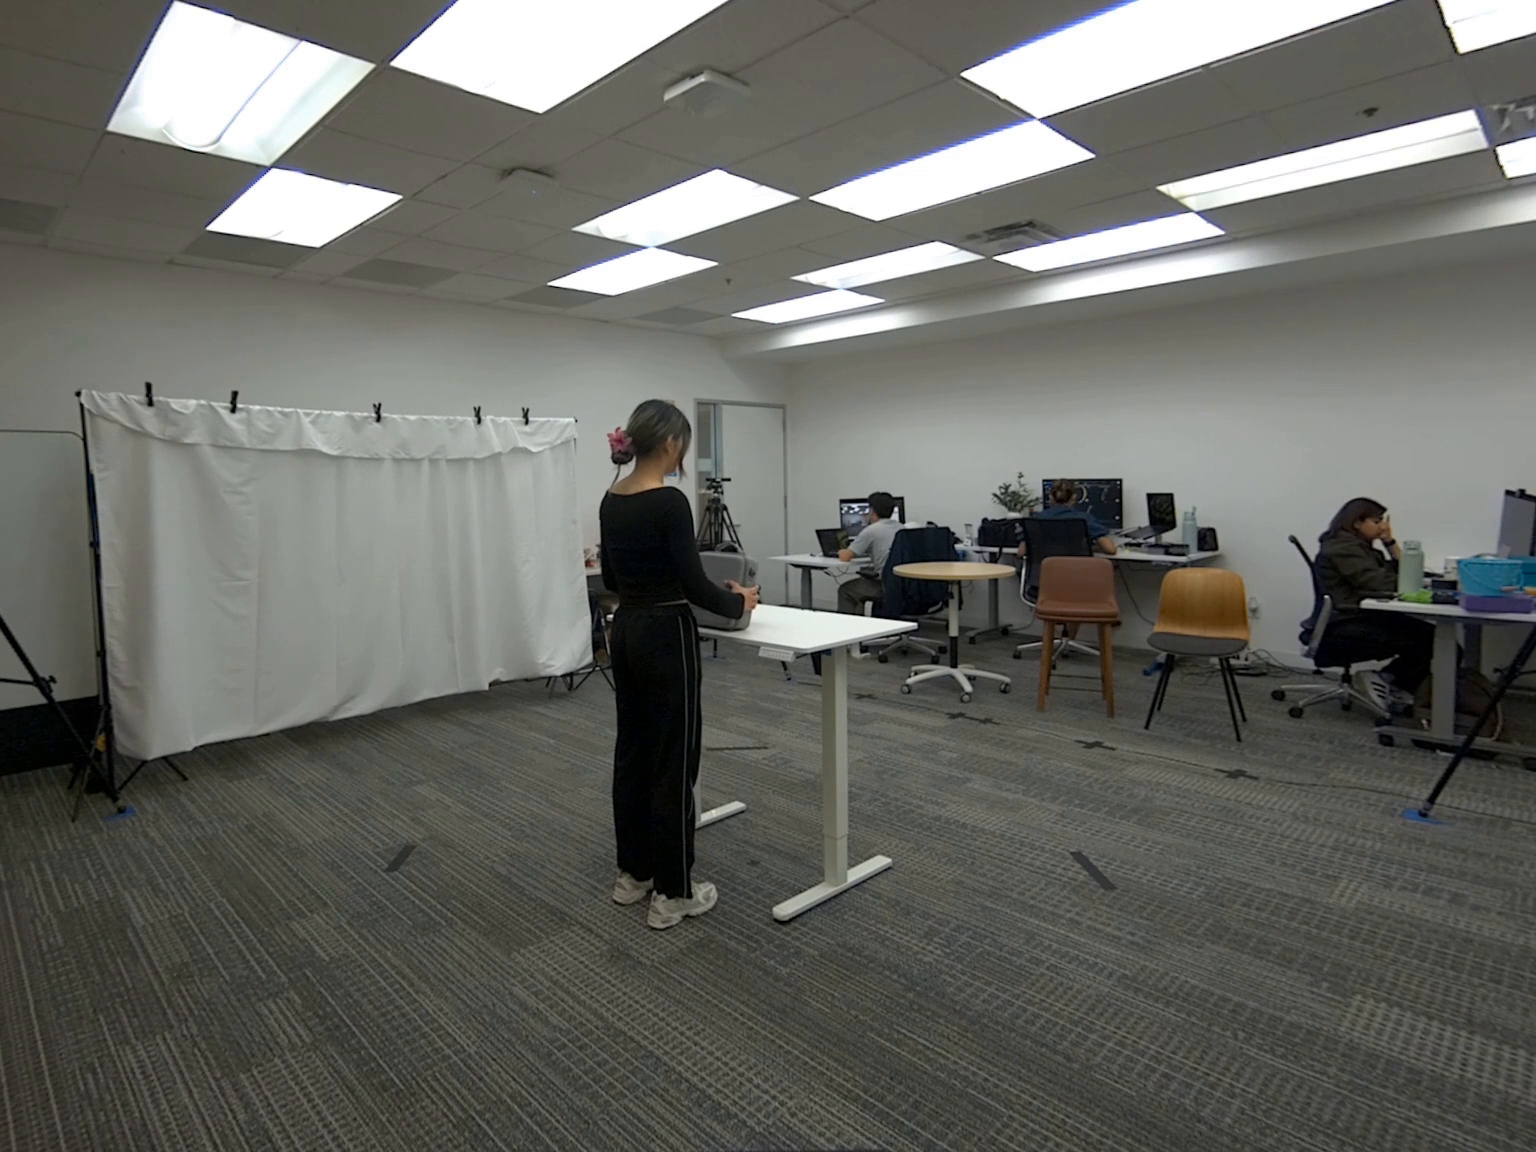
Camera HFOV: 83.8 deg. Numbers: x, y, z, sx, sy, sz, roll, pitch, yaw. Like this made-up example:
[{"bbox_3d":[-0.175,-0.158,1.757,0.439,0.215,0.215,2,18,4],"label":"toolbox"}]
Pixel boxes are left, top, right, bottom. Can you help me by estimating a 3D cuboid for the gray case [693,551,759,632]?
[{"bbox_3d":[-0.171,0.044,2.948,0.101,0.261,0.265,9,-3,-41],"label":"gray case"}]
